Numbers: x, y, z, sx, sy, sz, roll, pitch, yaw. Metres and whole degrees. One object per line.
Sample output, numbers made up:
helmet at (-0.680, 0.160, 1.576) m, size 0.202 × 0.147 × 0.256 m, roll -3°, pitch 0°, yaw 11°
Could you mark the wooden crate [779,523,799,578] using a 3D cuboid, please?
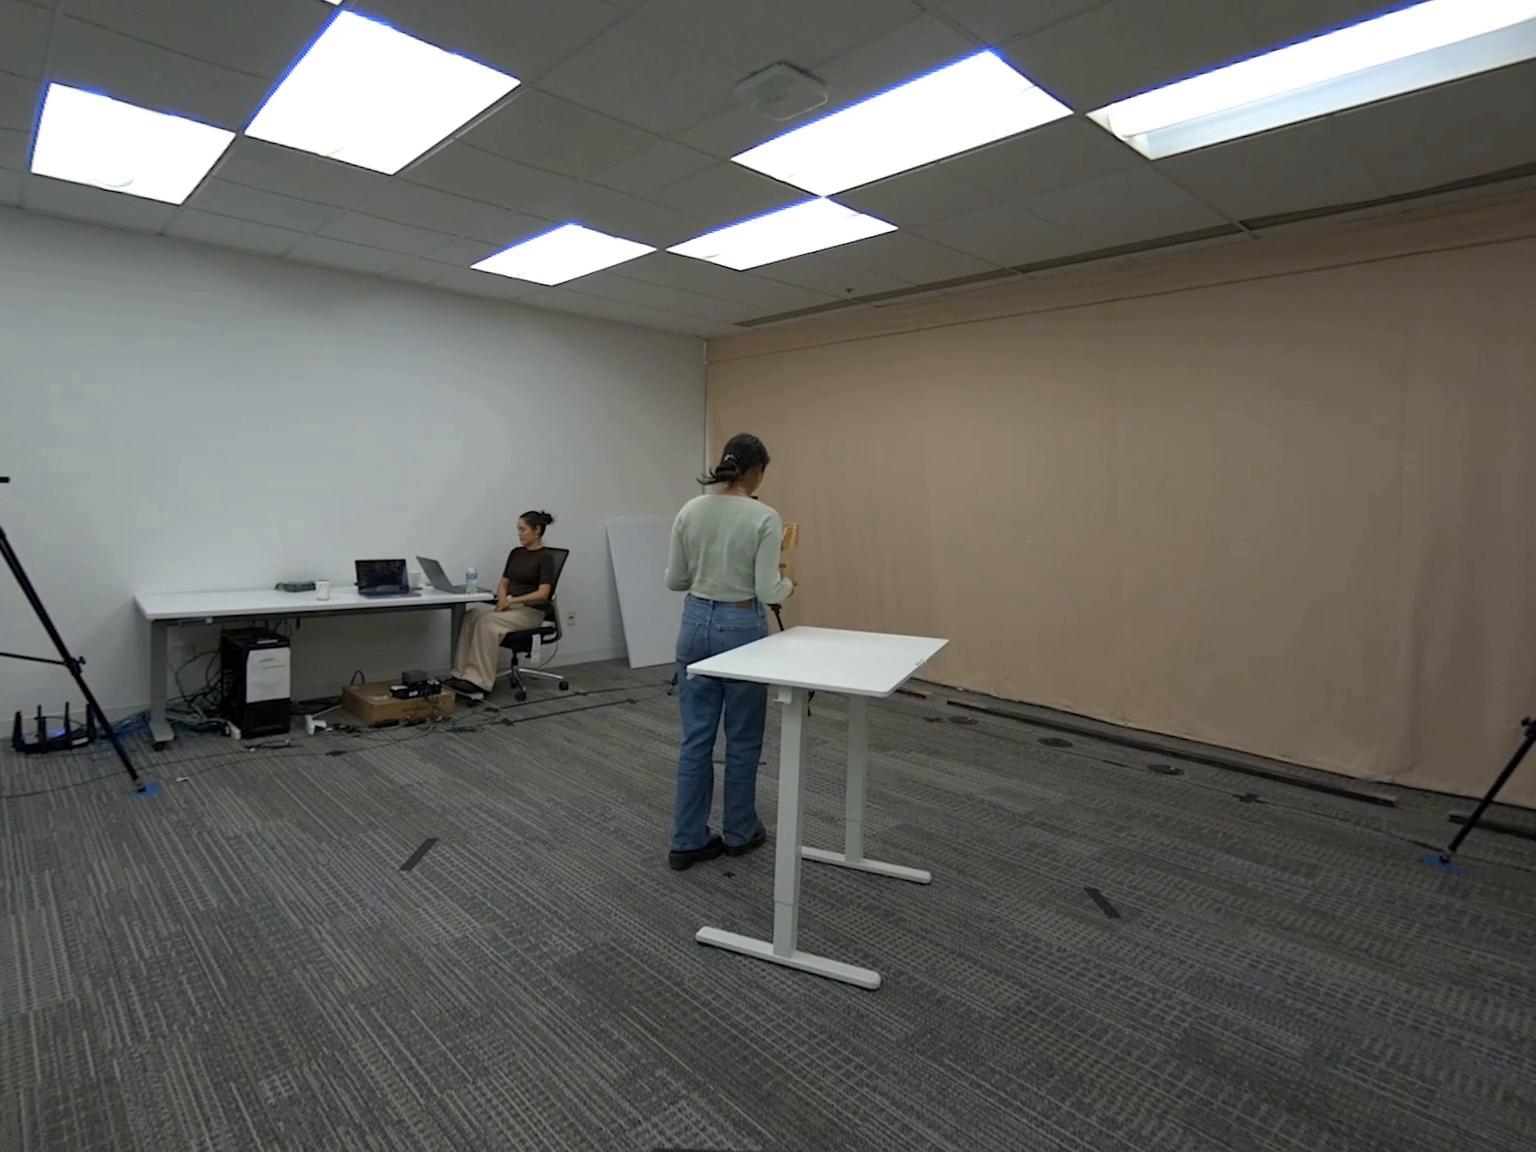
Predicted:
wooden crate at (-0.073, -0.080, 3.494) m, size 0.330 × 0.271 × 0.299 m, roll 5°, pitch 12°, yaw 20°
